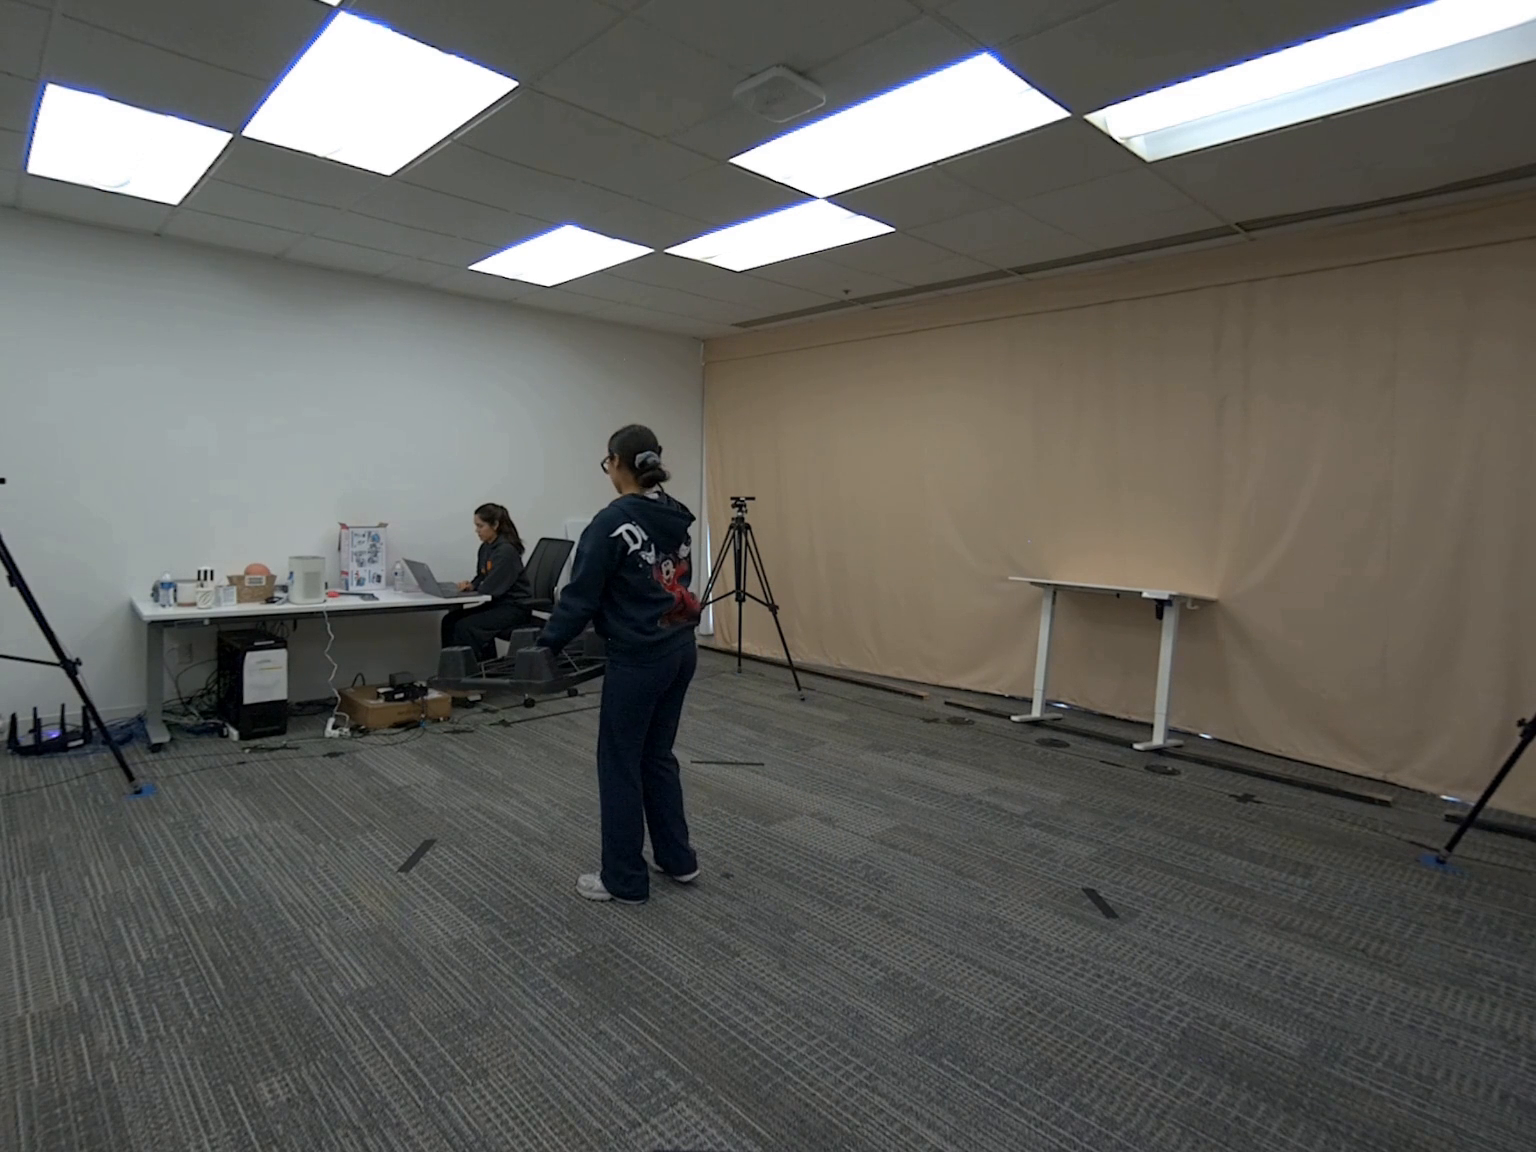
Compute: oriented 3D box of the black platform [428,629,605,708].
[{"bbox_3d":[-0.754,0.267,3.098,0.617,0.143,0.793,-3,7,29],"label":"black platform"}]
